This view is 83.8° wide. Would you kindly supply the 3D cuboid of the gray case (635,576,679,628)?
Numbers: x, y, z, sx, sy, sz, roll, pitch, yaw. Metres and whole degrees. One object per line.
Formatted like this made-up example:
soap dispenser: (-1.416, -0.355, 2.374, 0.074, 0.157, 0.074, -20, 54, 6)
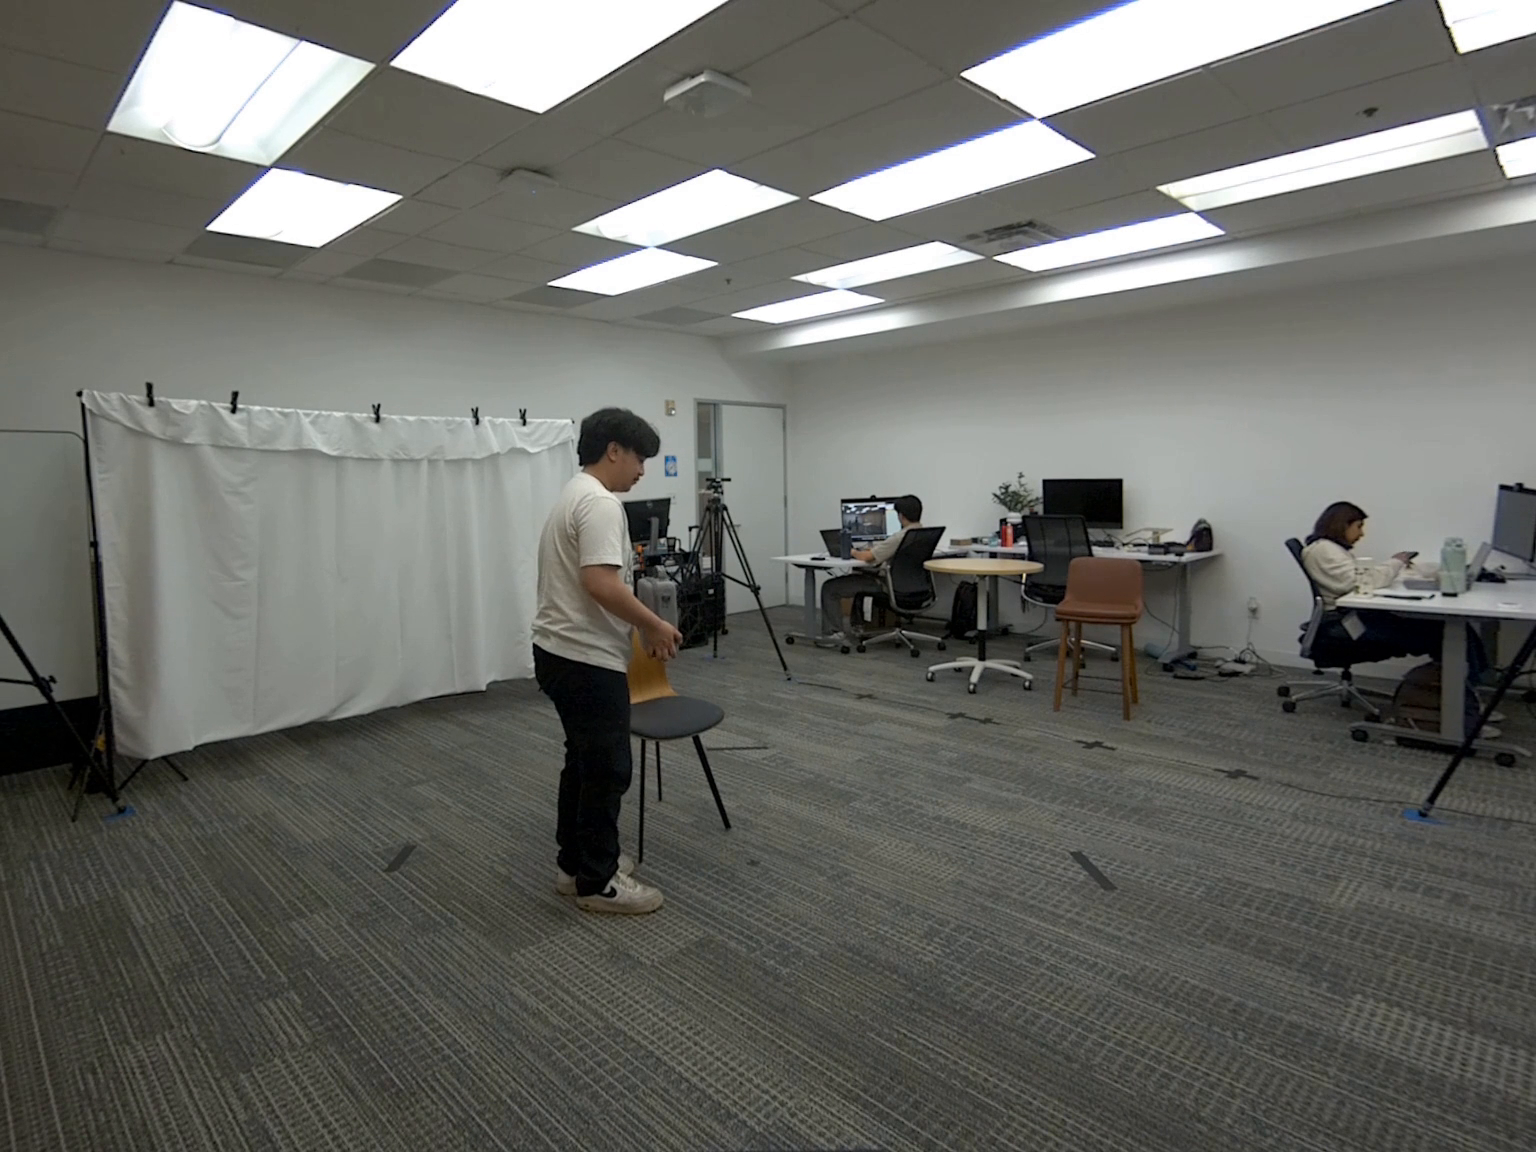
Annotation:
gray case: (-0.373, 0.129, 2.923, 0.103, 0.259, 0.262, -4, 6, -16)
